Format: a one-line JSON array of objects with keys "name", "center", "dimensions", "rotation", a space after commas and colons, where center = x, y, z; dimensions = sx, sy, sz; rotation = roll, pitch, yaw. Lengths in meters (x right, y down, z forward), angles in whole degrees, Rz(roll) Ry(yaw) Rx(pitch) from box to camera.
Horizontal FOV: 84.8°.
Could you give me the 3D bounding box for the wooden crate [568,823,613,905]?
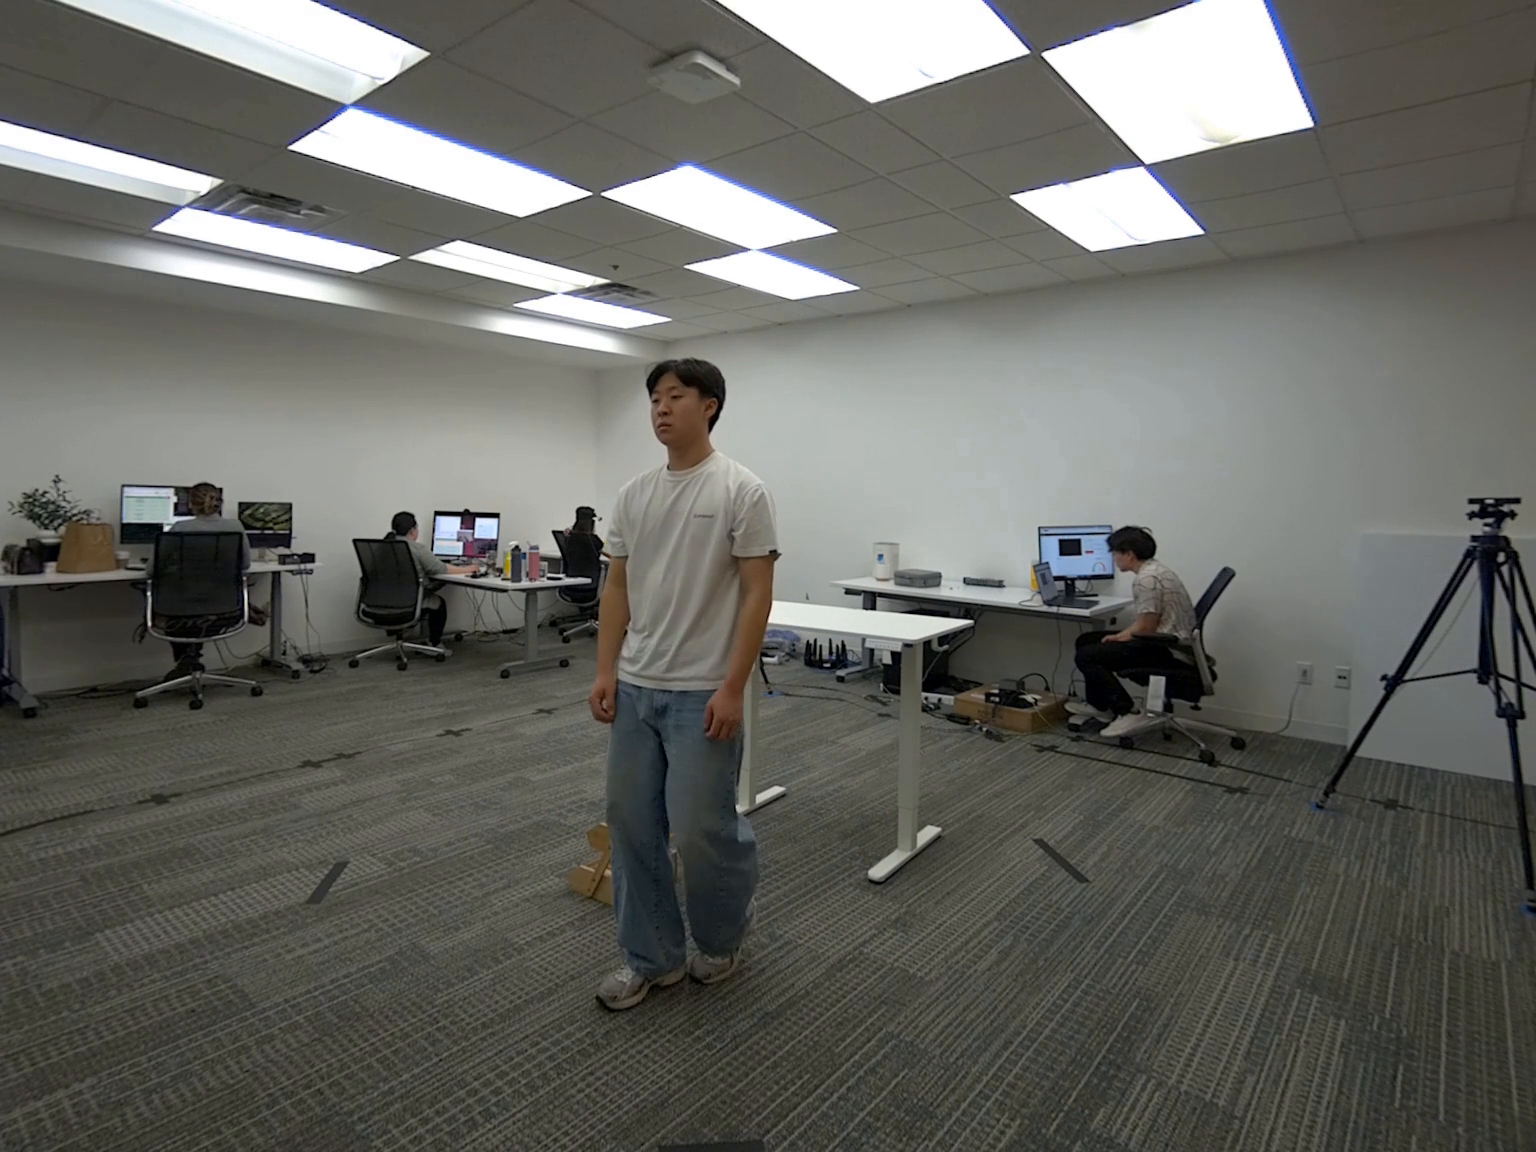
[{"name": "wooden crate", "center": [-0.495, 0.938, 2.963], "dimensions": [0.311, 0.272, 0.315], "rotation": [4, 5, 33]}]
